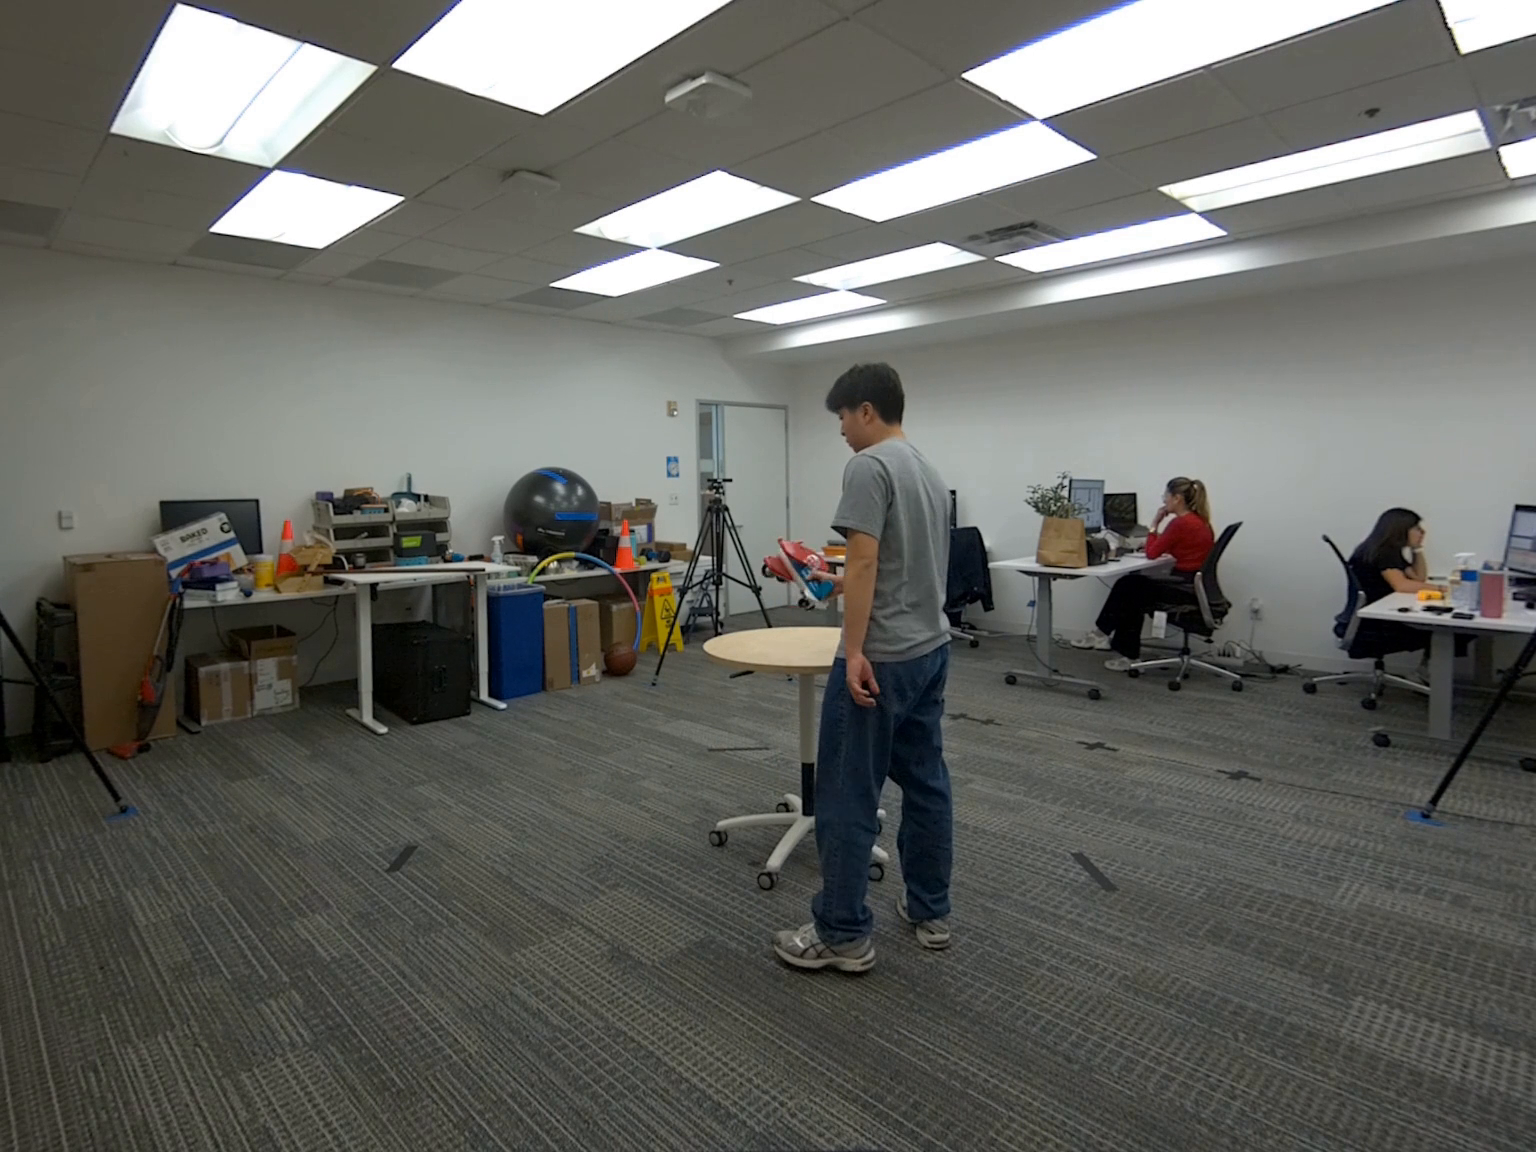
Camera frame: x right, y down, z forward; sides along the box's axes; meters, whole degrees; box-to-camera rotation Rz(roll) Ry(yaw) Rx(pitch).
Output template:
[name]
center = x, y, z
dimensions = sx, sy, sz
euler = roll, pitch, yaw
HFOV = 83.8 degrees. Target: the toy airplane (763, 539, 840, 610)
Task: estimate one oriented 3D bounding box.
[toy airplane]
center = 0.115, 0.021, 2.880
dimensions = 0.264, 0.156, 0.248
euler = 36, 13, 11
